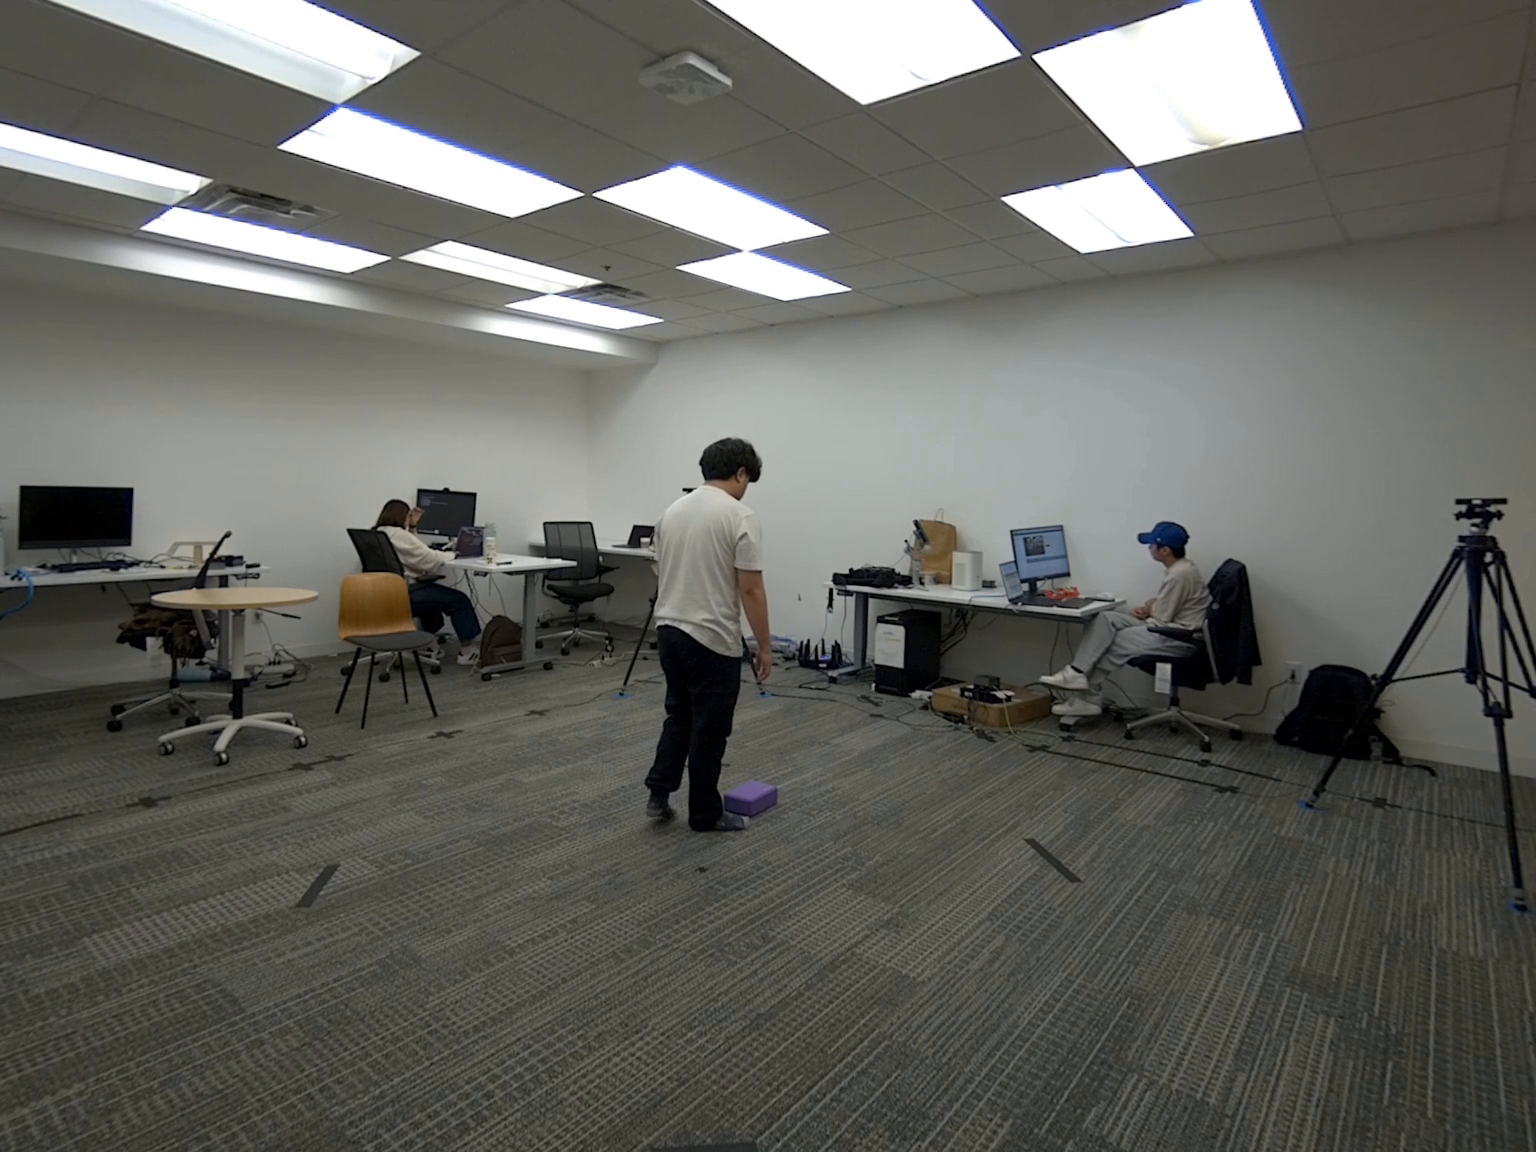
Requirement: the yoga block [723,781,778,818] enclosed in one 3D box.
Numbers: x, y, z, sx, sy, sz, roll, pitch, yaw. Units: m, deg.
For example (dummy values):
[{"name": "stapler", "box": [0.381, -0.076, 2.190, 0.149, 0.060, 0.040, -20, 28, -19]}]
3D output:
[{"name": "yoga block", "box": [-0.085, 0.972, 3.734, 0.153, 0.076, 0.223, 3, 5, 31]}]
